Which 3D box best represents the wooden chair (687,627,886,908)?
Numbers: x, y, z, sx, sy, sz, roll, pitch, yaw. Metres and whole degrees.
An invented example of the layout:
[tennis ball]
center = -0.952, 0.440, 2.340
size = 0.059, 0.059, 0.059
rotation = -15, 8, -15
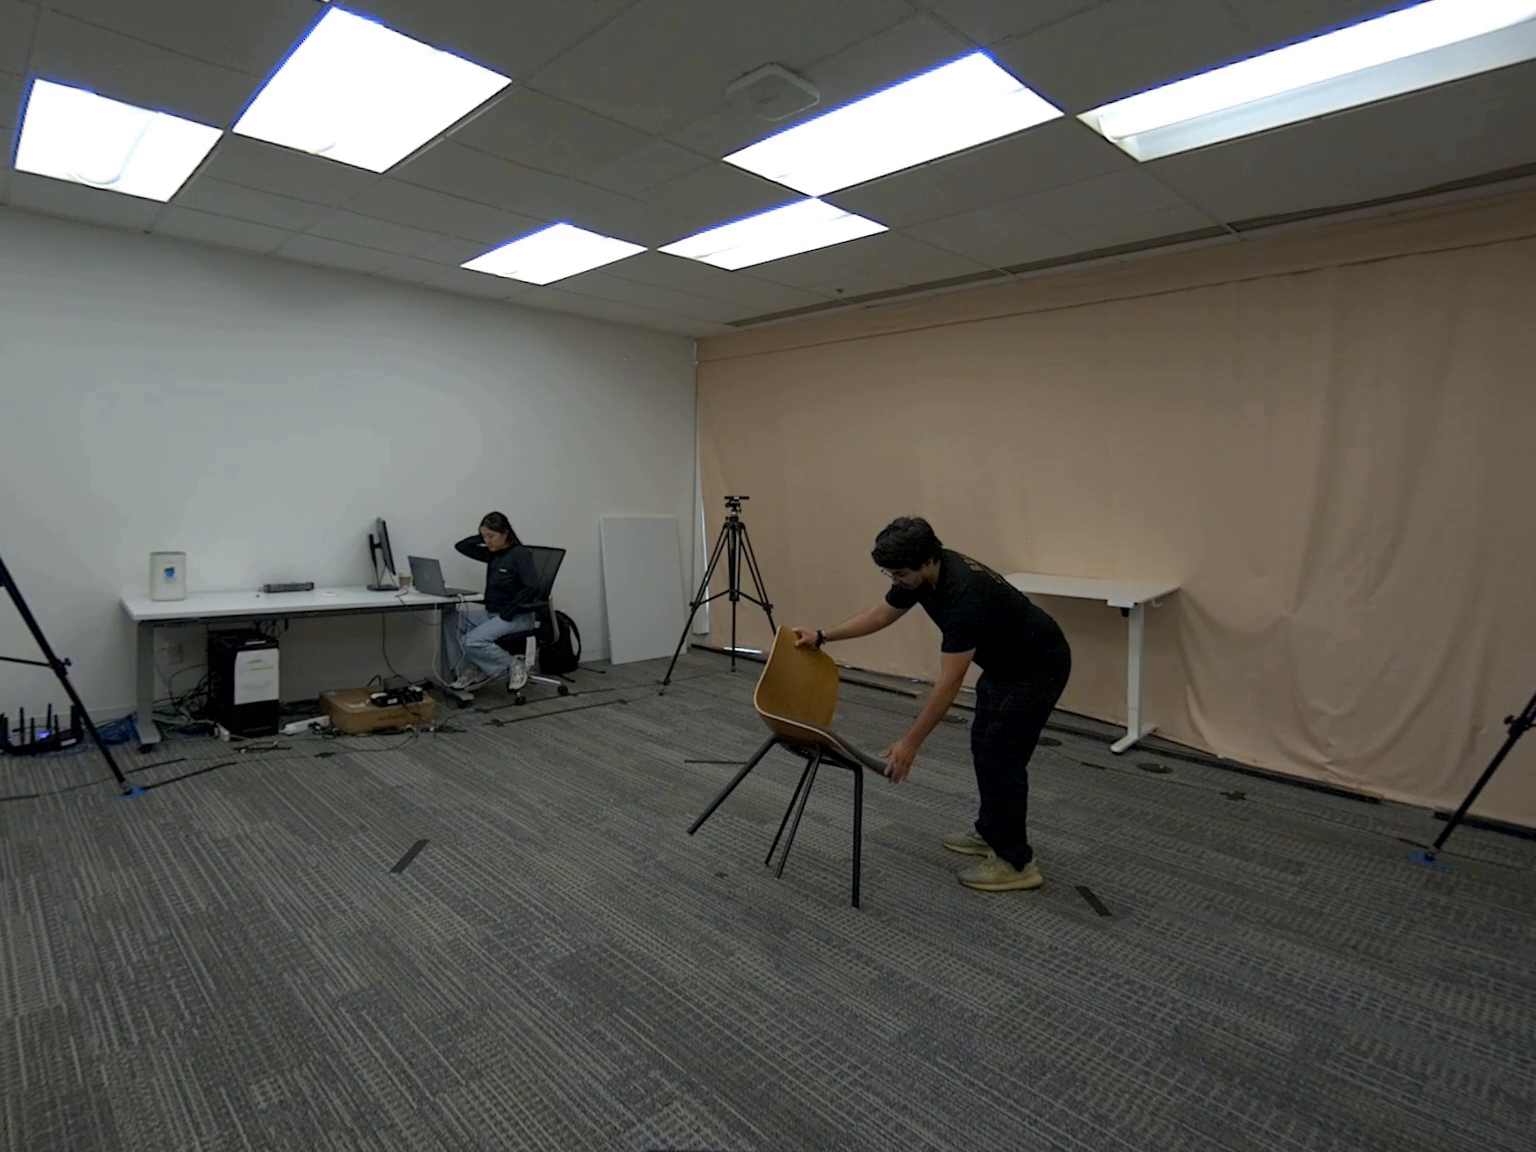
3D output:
[wooden chair]
center = 0.171, 0.639, 2.997
size = 0.535, 0.884, 0.463
rotation = -1, -28, 45
